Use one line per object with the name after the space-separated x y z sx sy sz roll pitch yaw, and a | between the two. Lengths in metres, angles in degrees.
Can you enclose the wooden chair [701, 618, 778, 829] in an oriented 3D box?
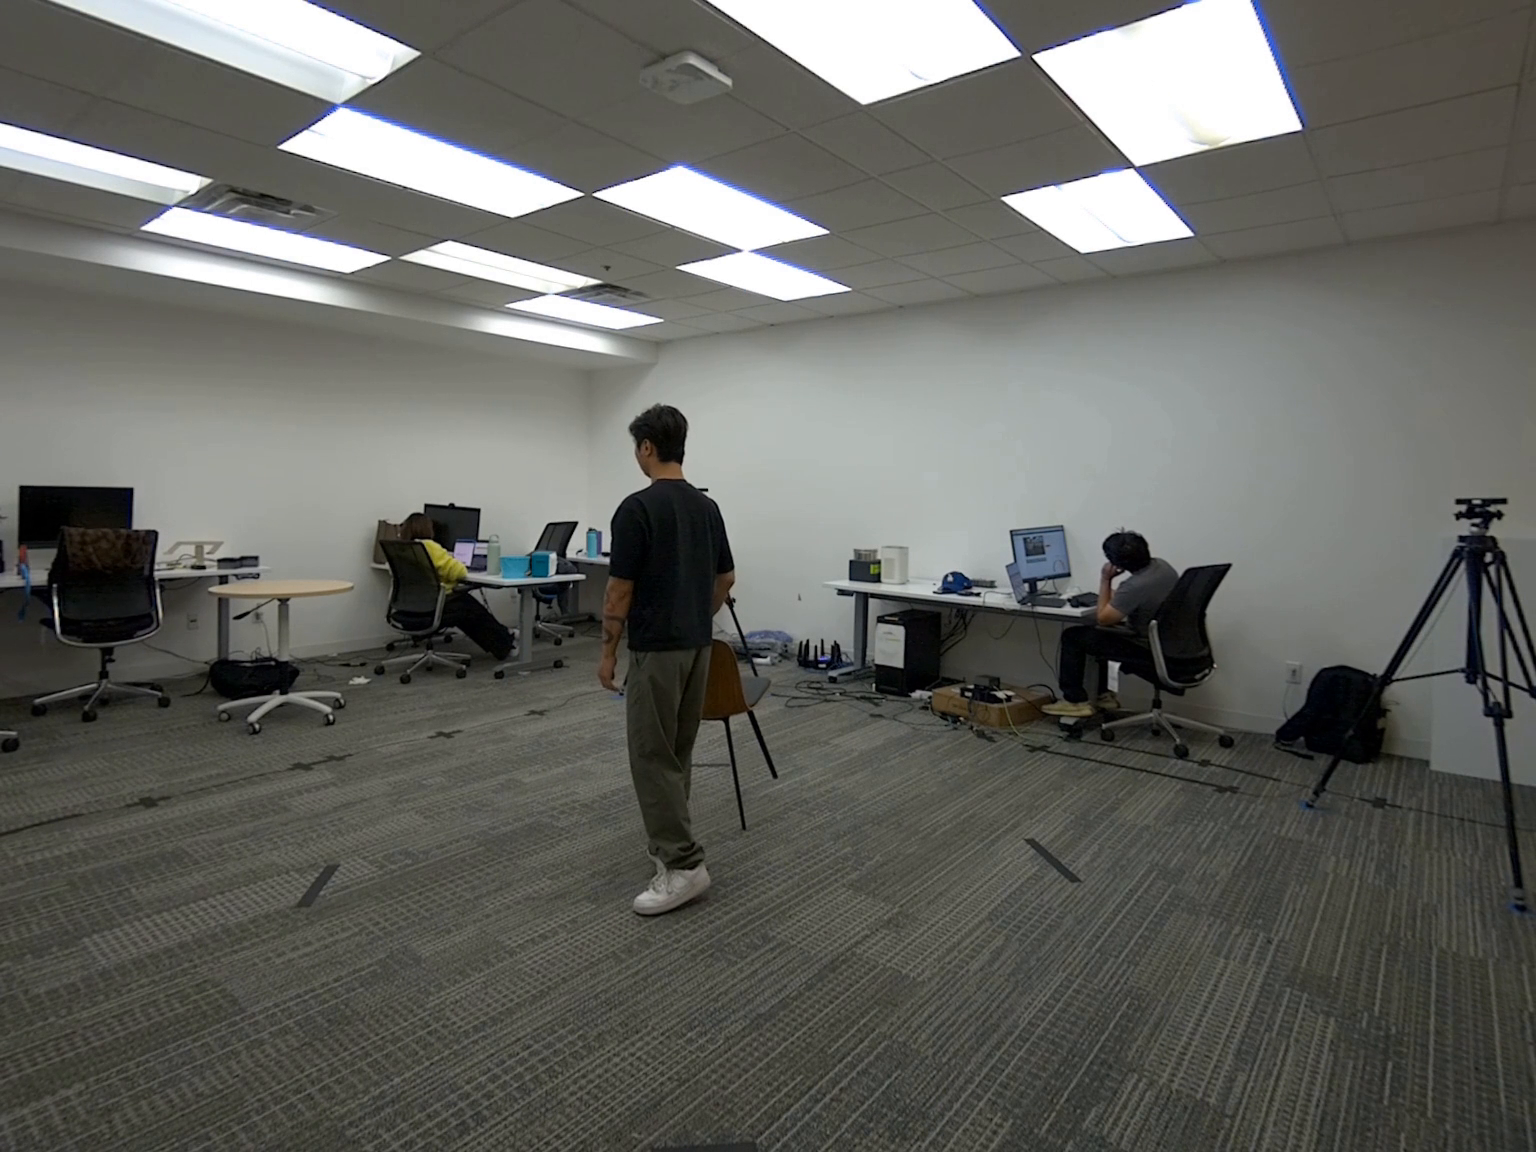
-0.264 0.553 3.672 0.489 0.863 0.520 2 18 20 | wooden chair
